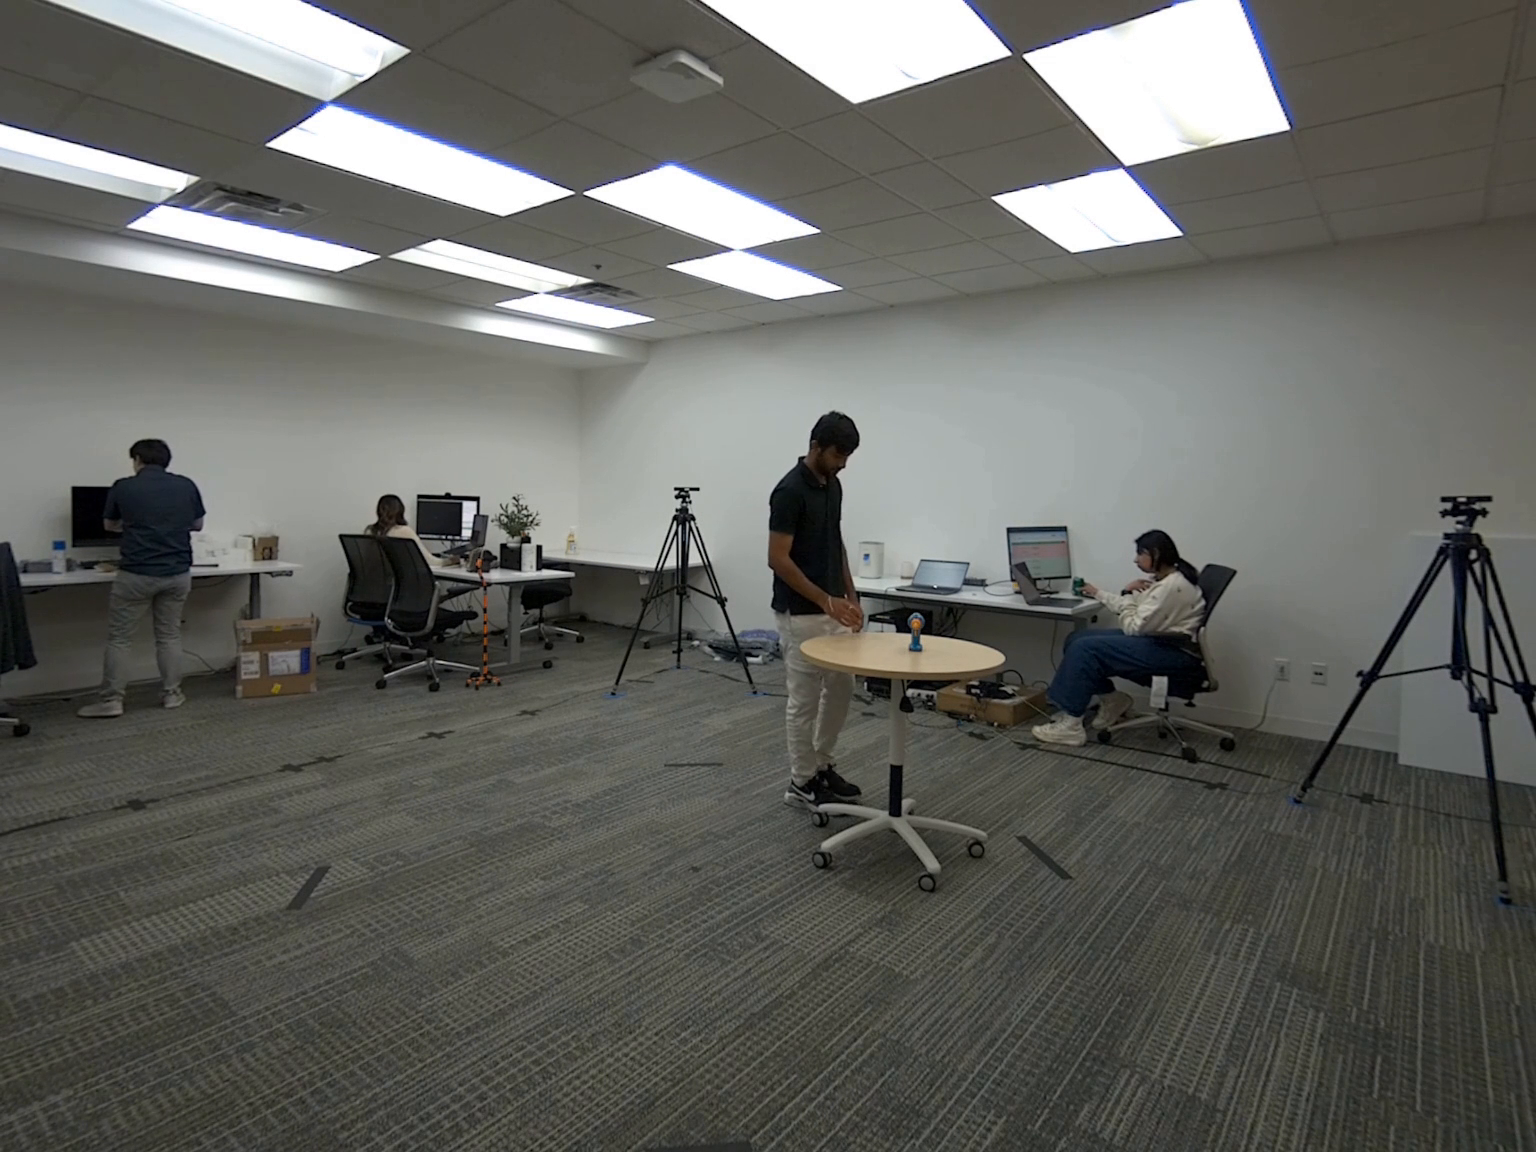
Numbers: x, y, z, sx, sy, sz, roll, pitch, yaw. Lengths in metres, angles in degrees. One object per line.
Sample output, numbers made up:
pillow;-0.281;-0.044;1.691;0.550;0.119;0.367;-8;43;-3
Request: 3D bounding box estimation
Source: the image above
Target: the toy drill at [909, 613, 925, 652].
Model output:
toy drill;0.564;0.211;3.245;0.061;0.145;0.170;4;4;-2
